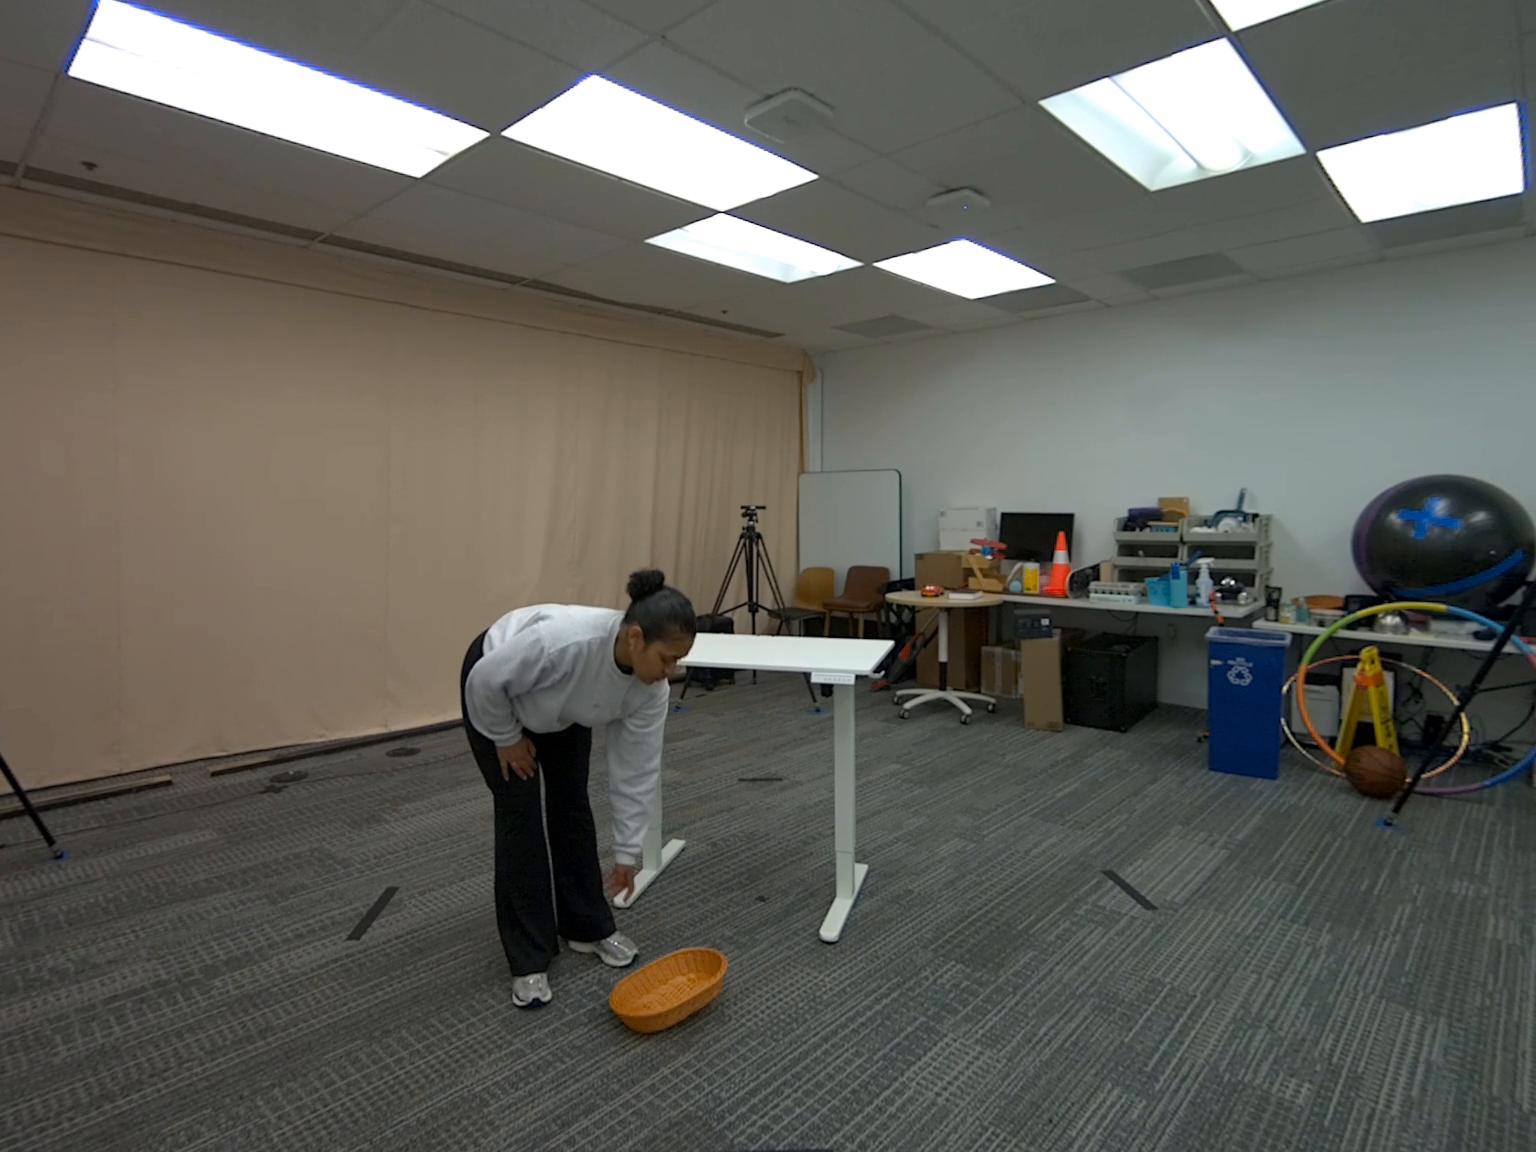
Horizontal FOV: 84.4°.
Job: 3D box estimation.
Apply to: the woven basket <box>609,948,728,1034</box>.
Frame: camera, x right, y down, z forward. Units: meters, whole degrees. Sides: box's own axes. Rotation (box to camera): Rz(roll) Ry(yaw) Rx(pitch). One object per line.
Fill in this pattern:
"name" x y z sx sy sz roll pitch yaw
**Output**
"woven basket" -0.259 1.147 2.312 0.341 0.073 0.259 -10 4 -33
